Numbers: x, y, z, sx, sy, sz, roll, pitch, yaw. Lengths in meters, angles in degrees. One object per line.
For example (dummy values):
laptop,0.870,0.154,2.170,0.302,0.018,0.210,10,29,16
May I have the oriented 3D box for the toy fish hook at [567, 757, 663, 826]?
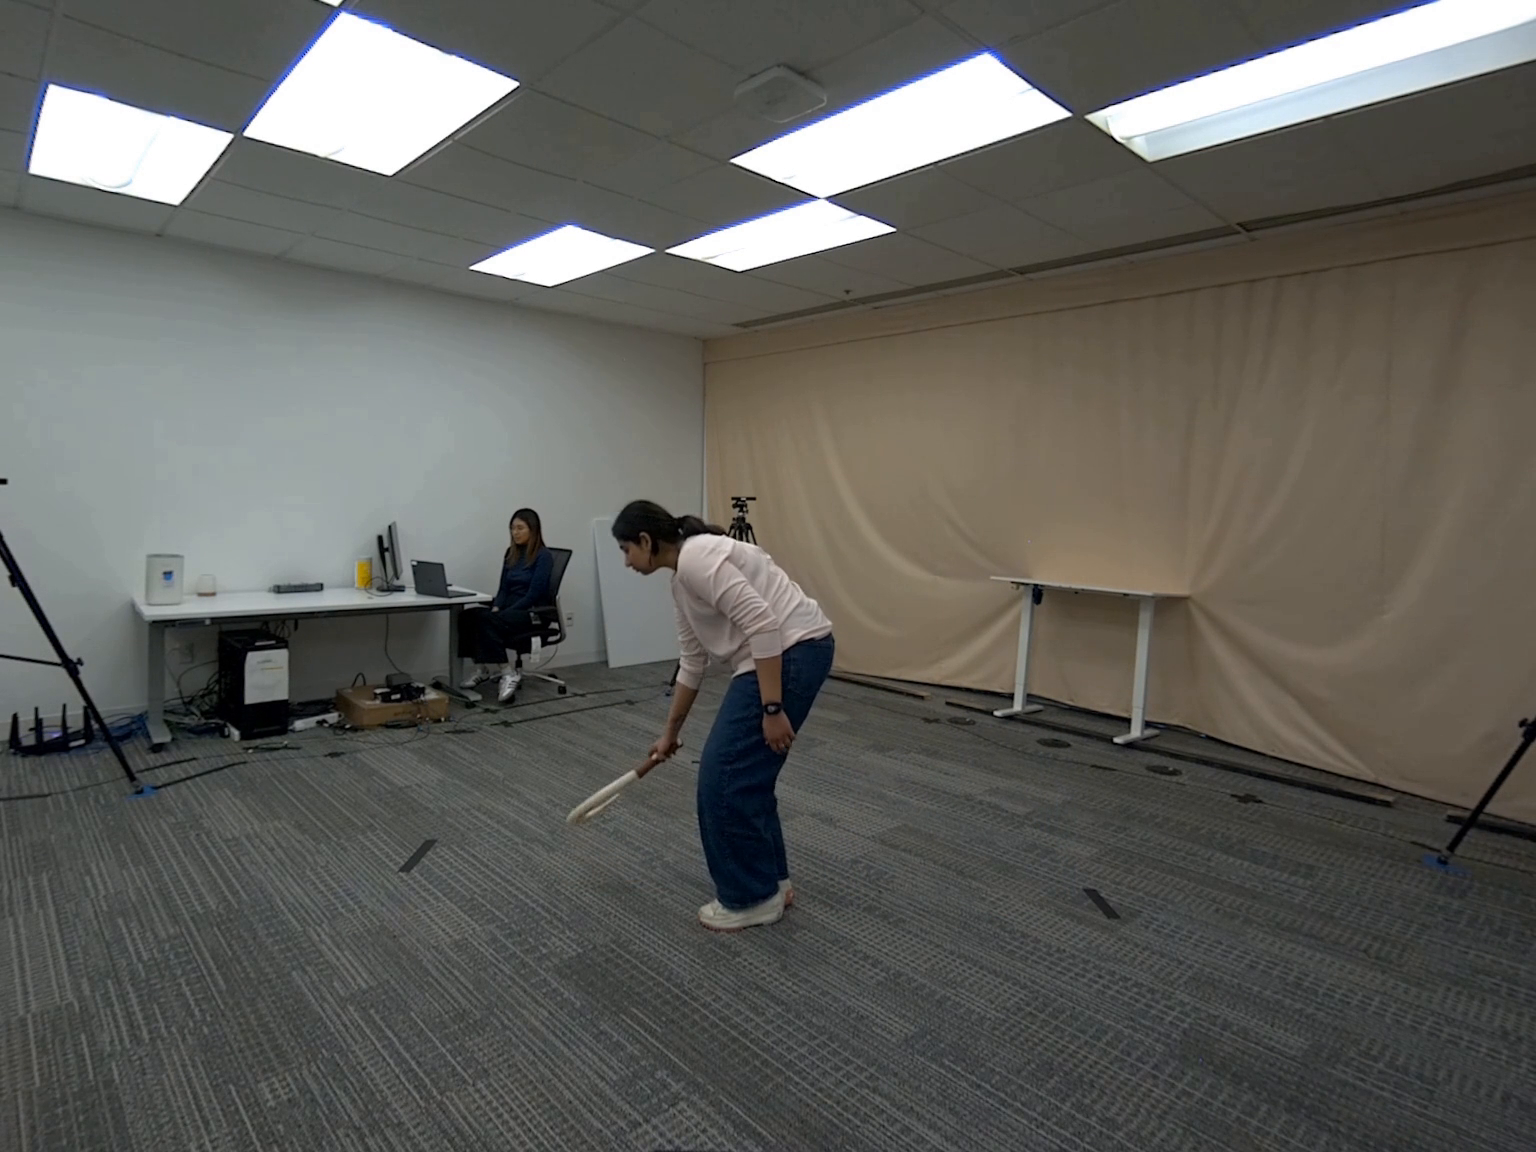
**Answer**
toy fish hook,-0.521,0.753,3.086,0.505,0.049,0.221,-34,-15,-10
